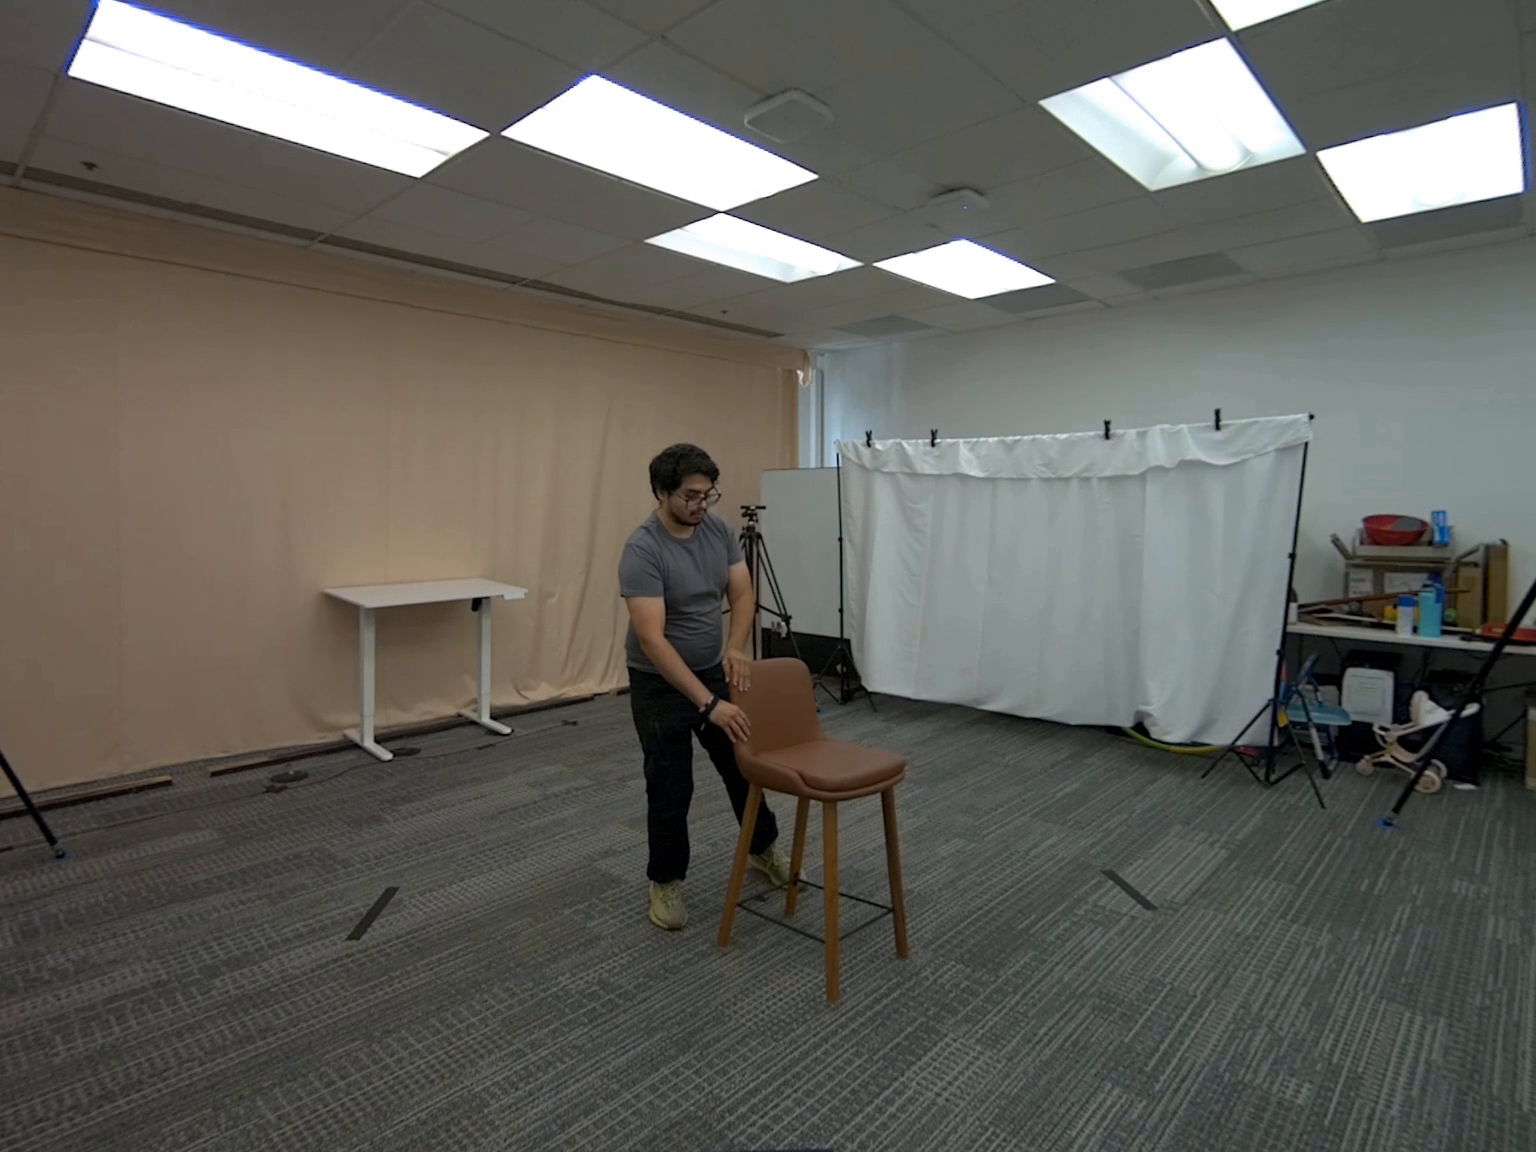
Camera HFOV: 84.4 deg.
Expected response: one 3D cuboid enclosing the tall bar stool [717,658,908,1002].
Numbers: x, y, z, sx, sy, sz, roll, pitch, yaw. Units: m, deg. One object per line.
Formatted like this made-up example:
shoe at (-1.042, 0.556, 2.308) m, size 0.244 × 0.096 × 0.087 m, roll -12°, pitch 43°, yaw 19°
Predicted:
tall bar stool at (0.148, 0.726, 2.604) m, size 0.482 × 0.891 × 0.441 m, roll 0°, pitch -2°, yaw 41°
